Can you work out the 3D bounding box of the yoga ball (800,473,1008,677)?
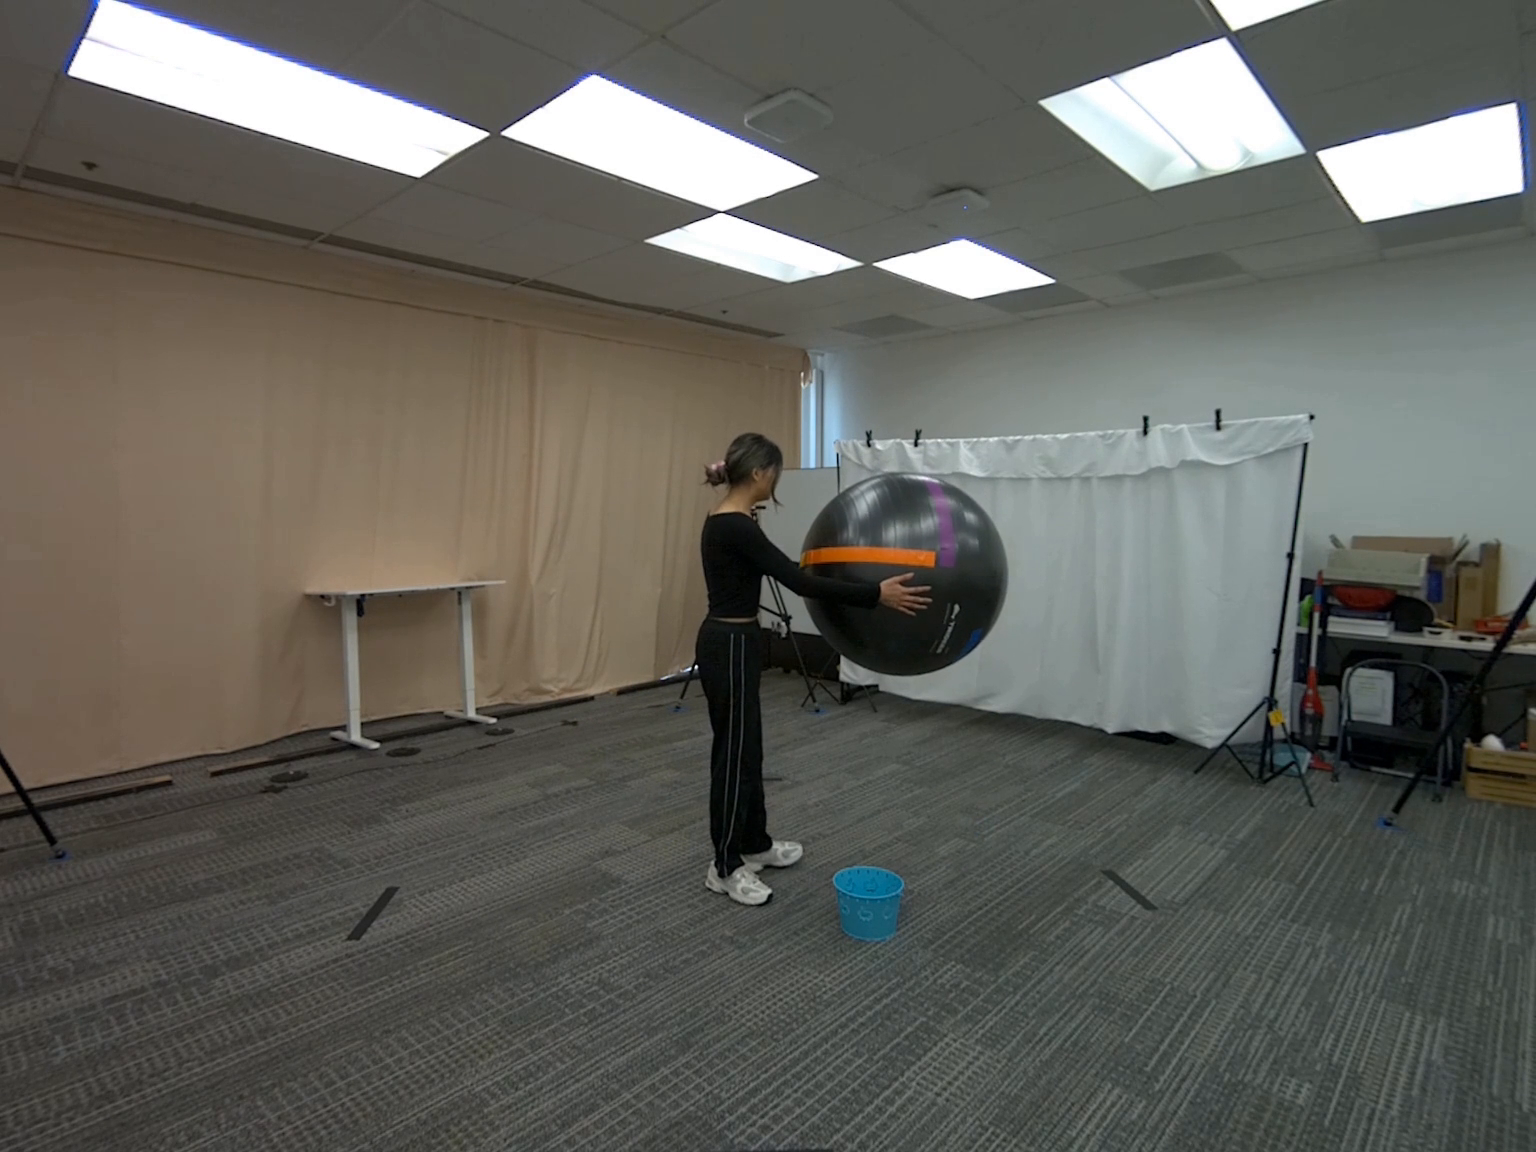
[{"bbox_3d":[0.521,-0.003,3.163,0.757,0.756,0.760,0,4,-2],"label":"yoga ball"}]
